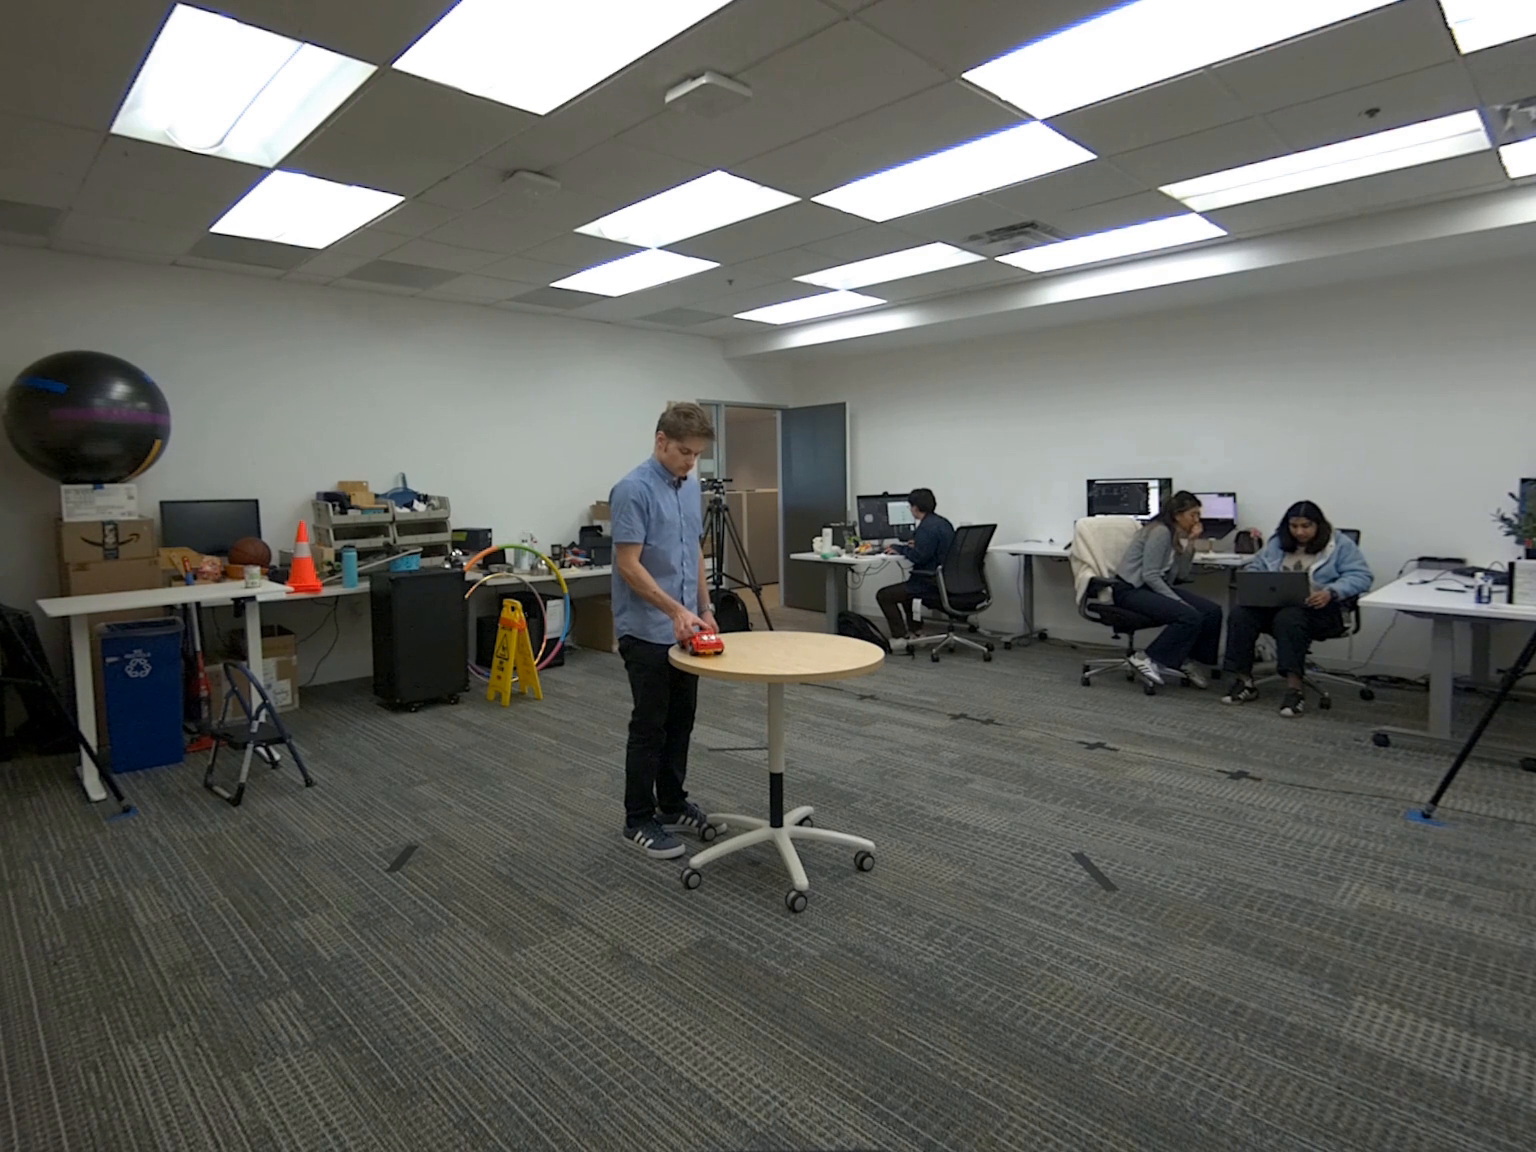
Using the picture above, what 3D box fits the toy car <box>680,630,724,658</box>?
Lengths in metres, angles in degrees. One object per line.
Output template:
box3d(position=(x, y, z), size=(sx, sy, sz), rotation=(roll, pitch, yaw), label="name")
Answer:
box3d(position=(-0.226, 0.242, 3.011), size=(0.128, 0.084, 0.256), rotation=(1, -8, -19), label="toy car")
